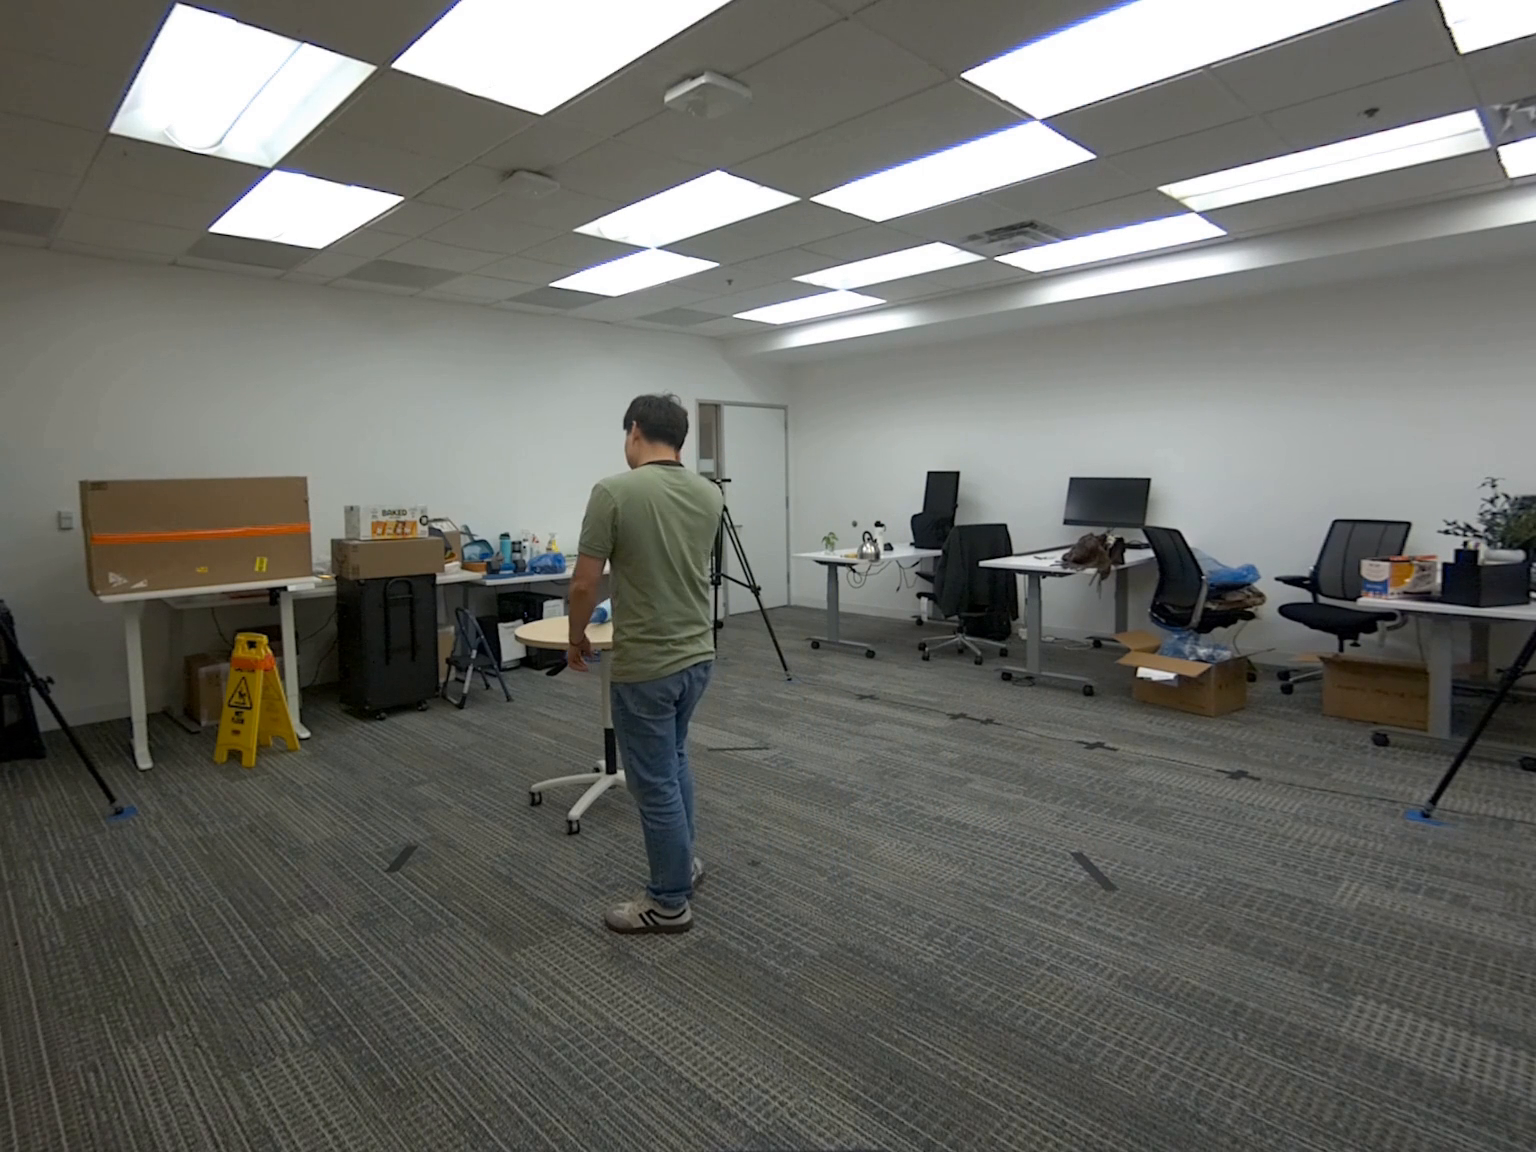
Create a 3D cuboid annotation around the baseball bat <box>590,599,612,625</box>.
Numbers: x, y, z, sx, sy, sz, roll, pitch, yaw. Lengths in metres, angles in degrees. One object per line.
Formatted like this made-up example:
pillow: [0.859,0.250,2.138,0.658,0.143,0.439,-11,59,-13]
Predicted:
baseball bat: [-0.731,0.174,3.683,0.090,0.088,0.541,0,8,9]
